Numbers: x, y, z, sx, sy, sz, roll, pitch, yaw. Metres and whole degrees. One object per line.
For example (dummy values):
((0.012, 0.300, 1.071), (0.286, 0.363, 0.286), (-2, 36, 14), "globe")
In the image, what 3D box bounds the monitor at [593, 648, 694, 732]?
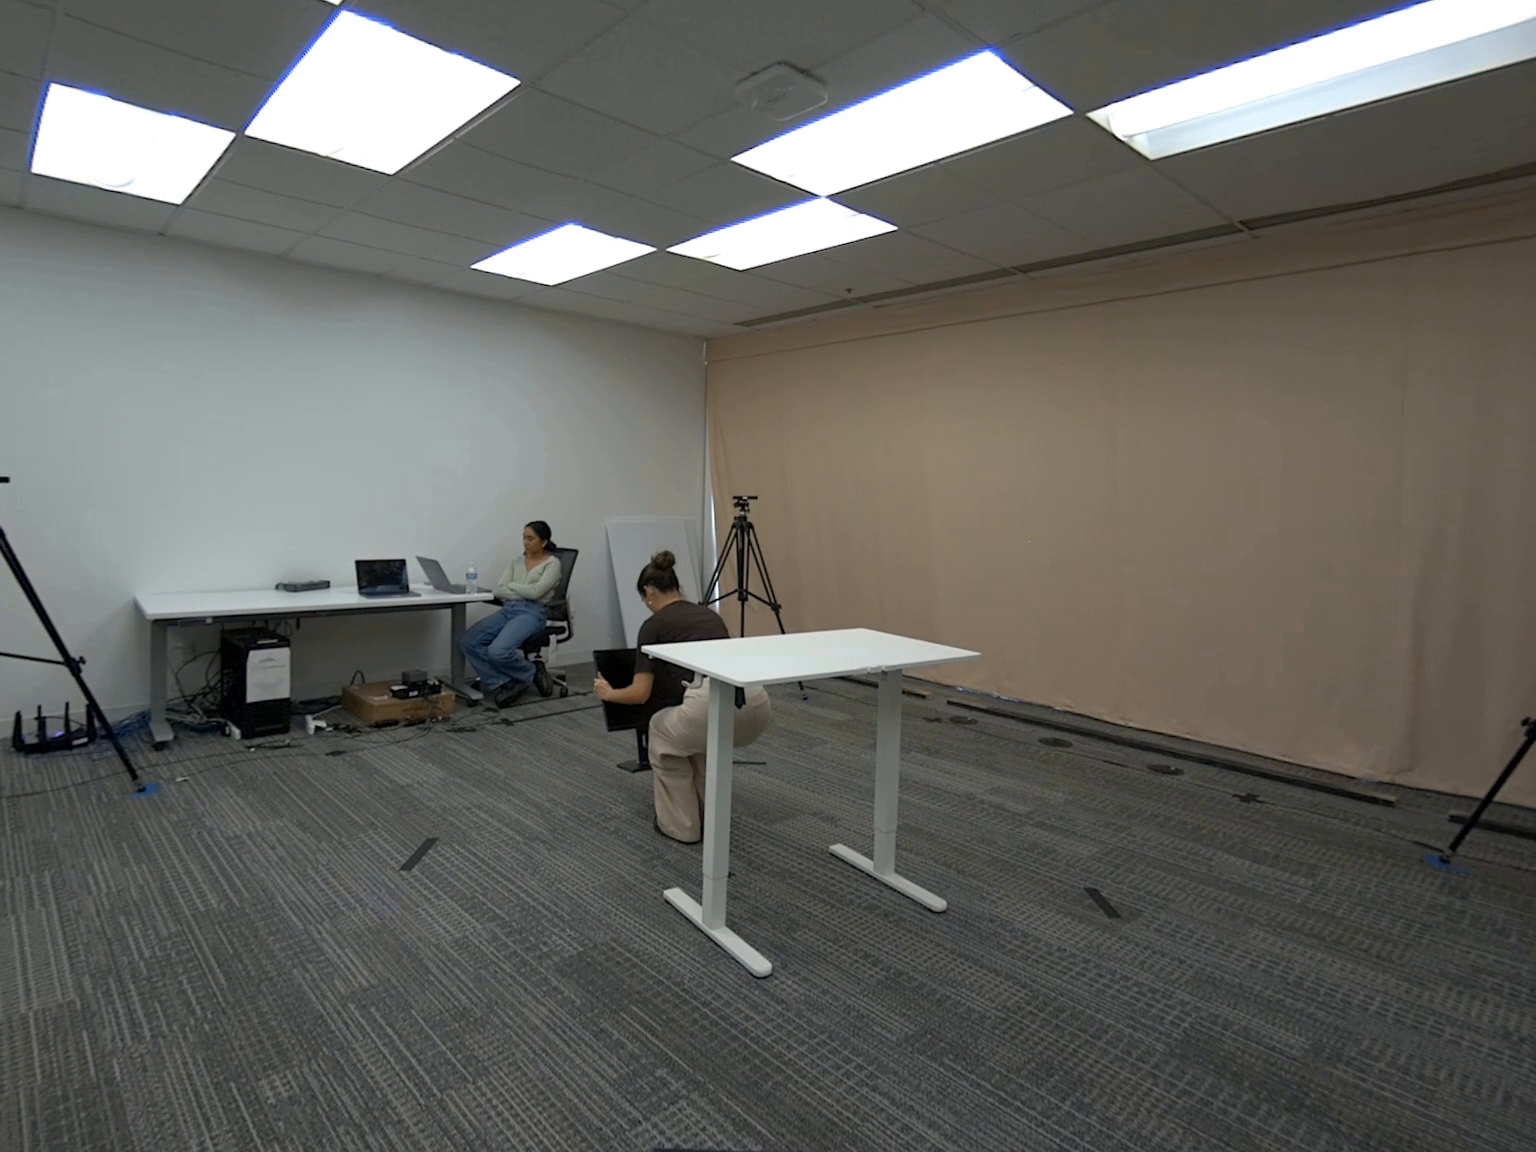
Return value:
((-0.546, 0.588, 3.752), (0.526, 0.524, 0.191), (1, -6, -43), "monitor")
